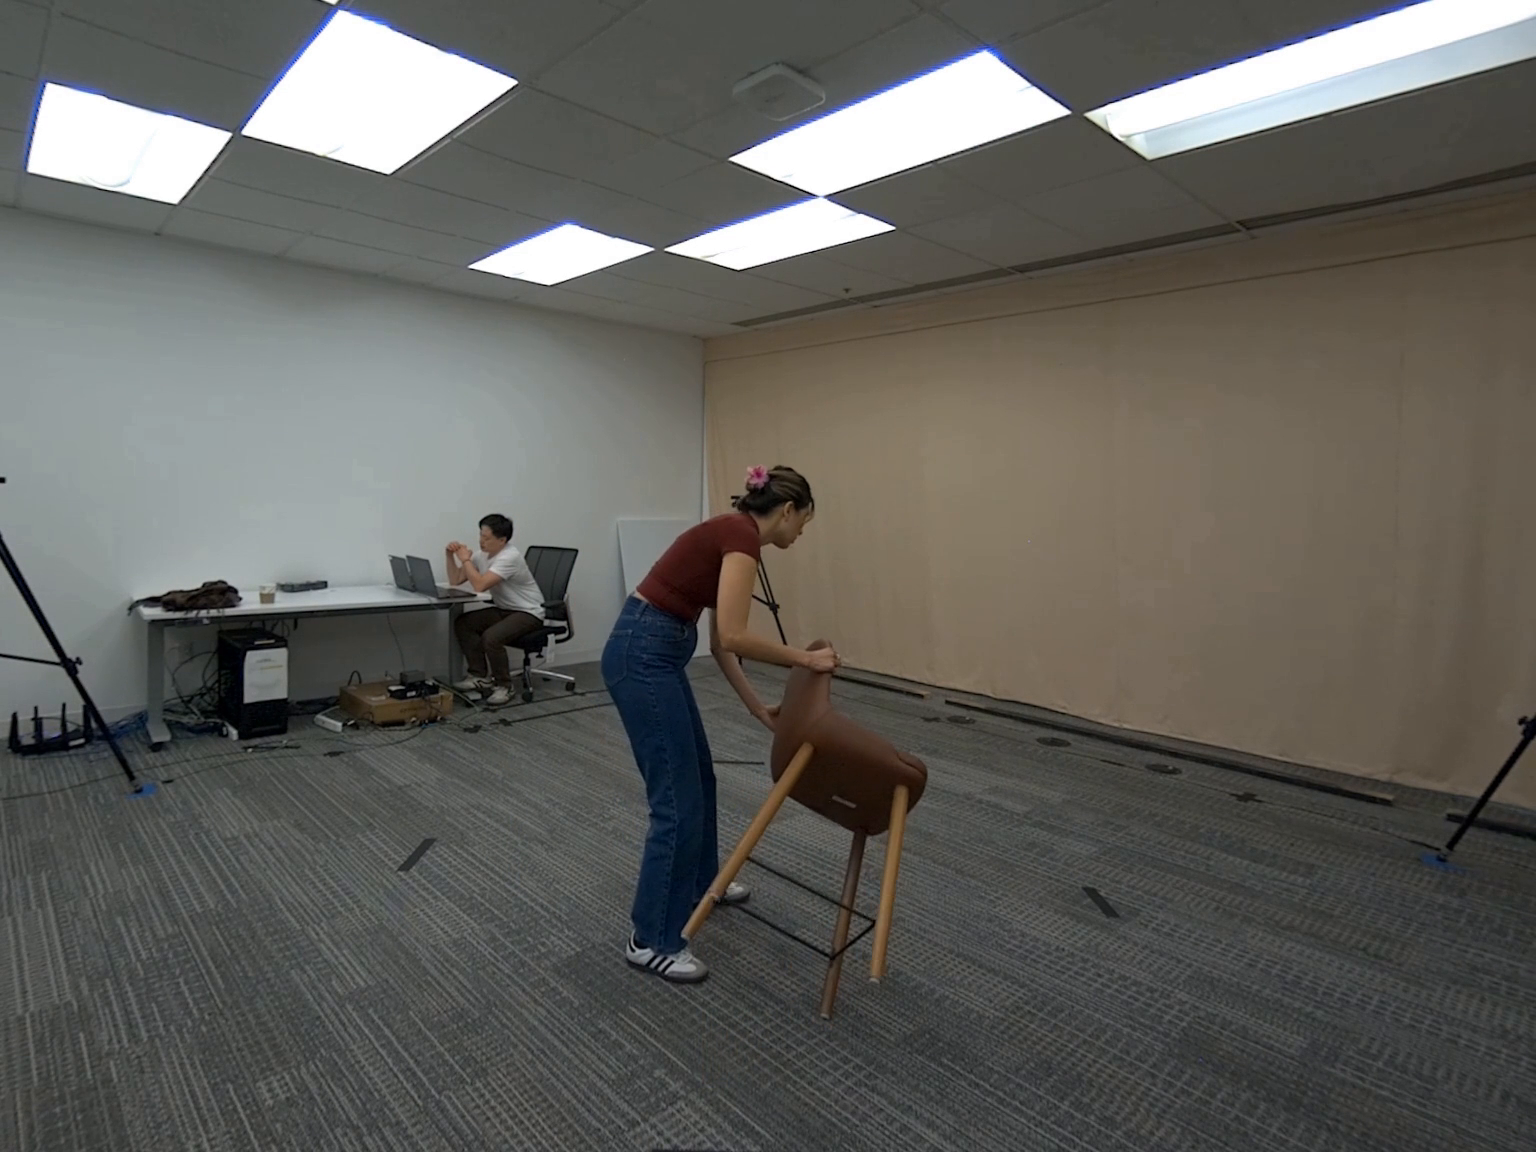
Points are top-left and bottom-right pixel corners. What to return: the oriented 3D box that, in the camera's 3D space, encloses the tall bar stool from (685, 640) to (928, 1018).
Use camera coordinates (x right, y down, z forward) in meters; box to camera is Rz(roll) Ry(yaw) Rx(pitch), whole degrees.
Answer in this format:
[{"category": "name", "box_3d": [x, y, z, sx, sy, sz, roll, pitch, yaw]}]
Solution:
[{"category": "tall bar stool", "box_3d": [0.158, 0.683, 2.424, 0.469, 0.451, 0.897, 24, 48, 2]}]
